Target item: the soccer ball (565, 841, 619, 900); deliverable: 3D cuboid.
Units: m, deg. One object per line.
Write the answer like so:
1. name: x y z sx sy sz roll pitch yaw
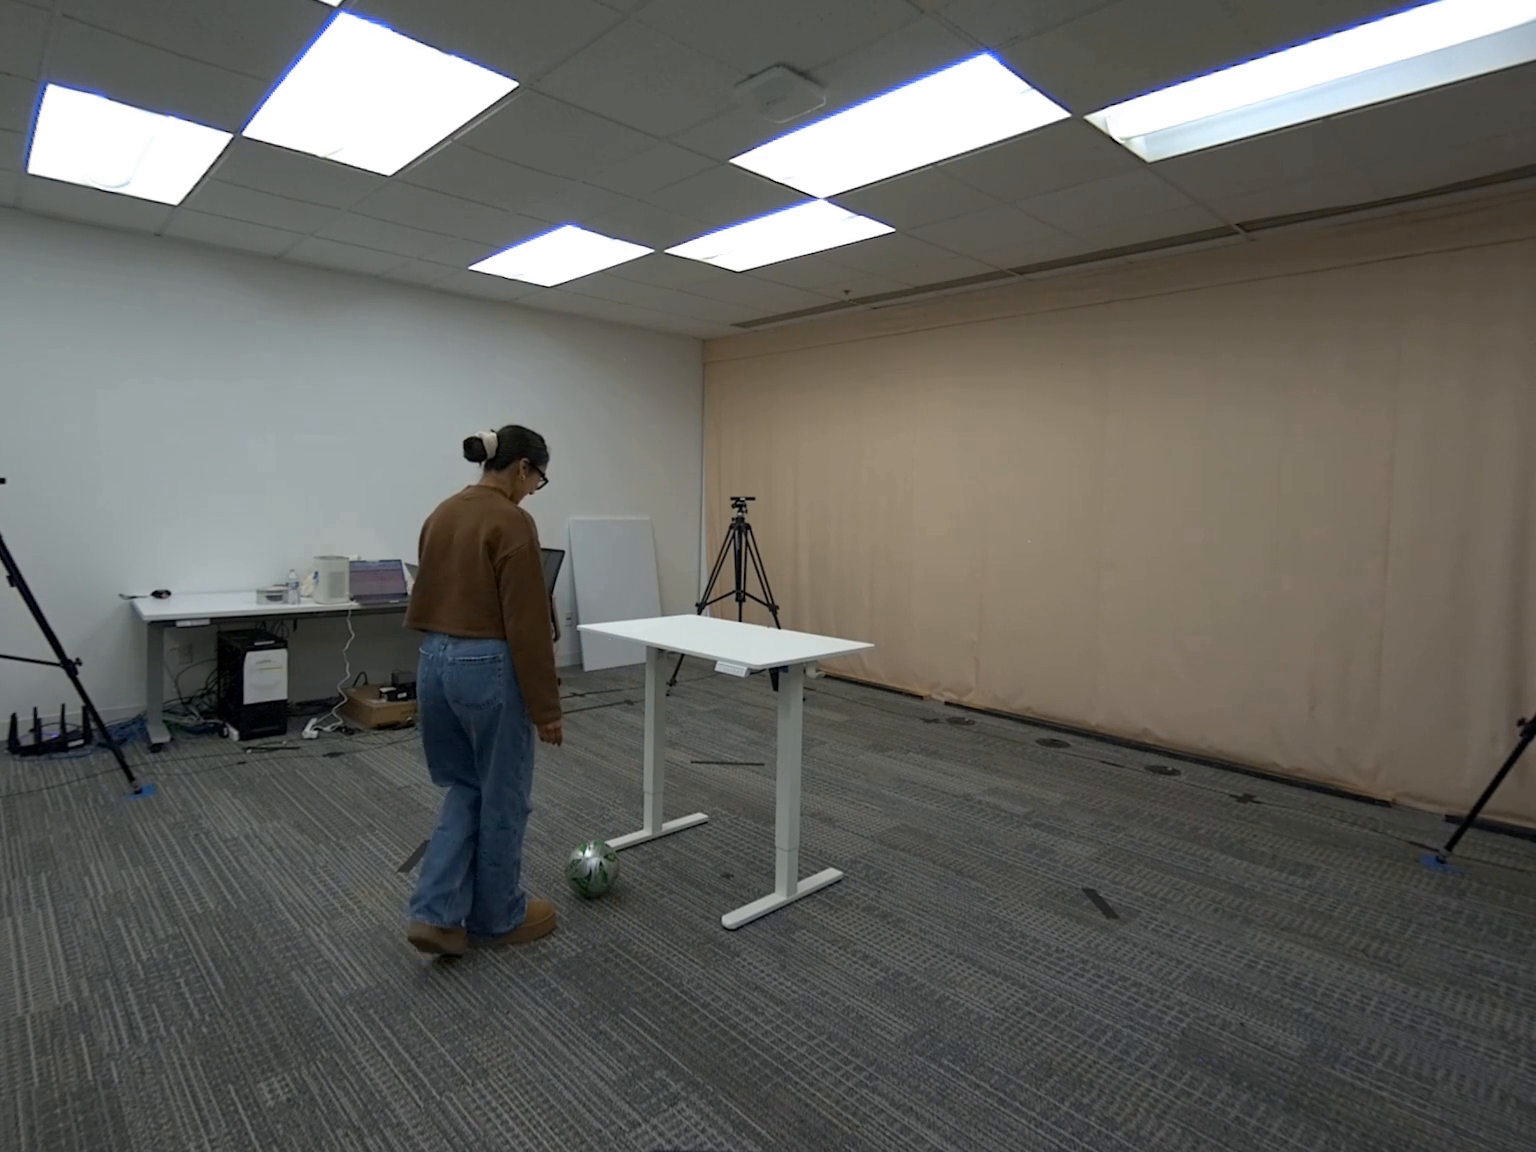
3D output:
1. soccer ball: -0.618 1.019 2.925 0.187 0.187 0.188 1 4 -1
